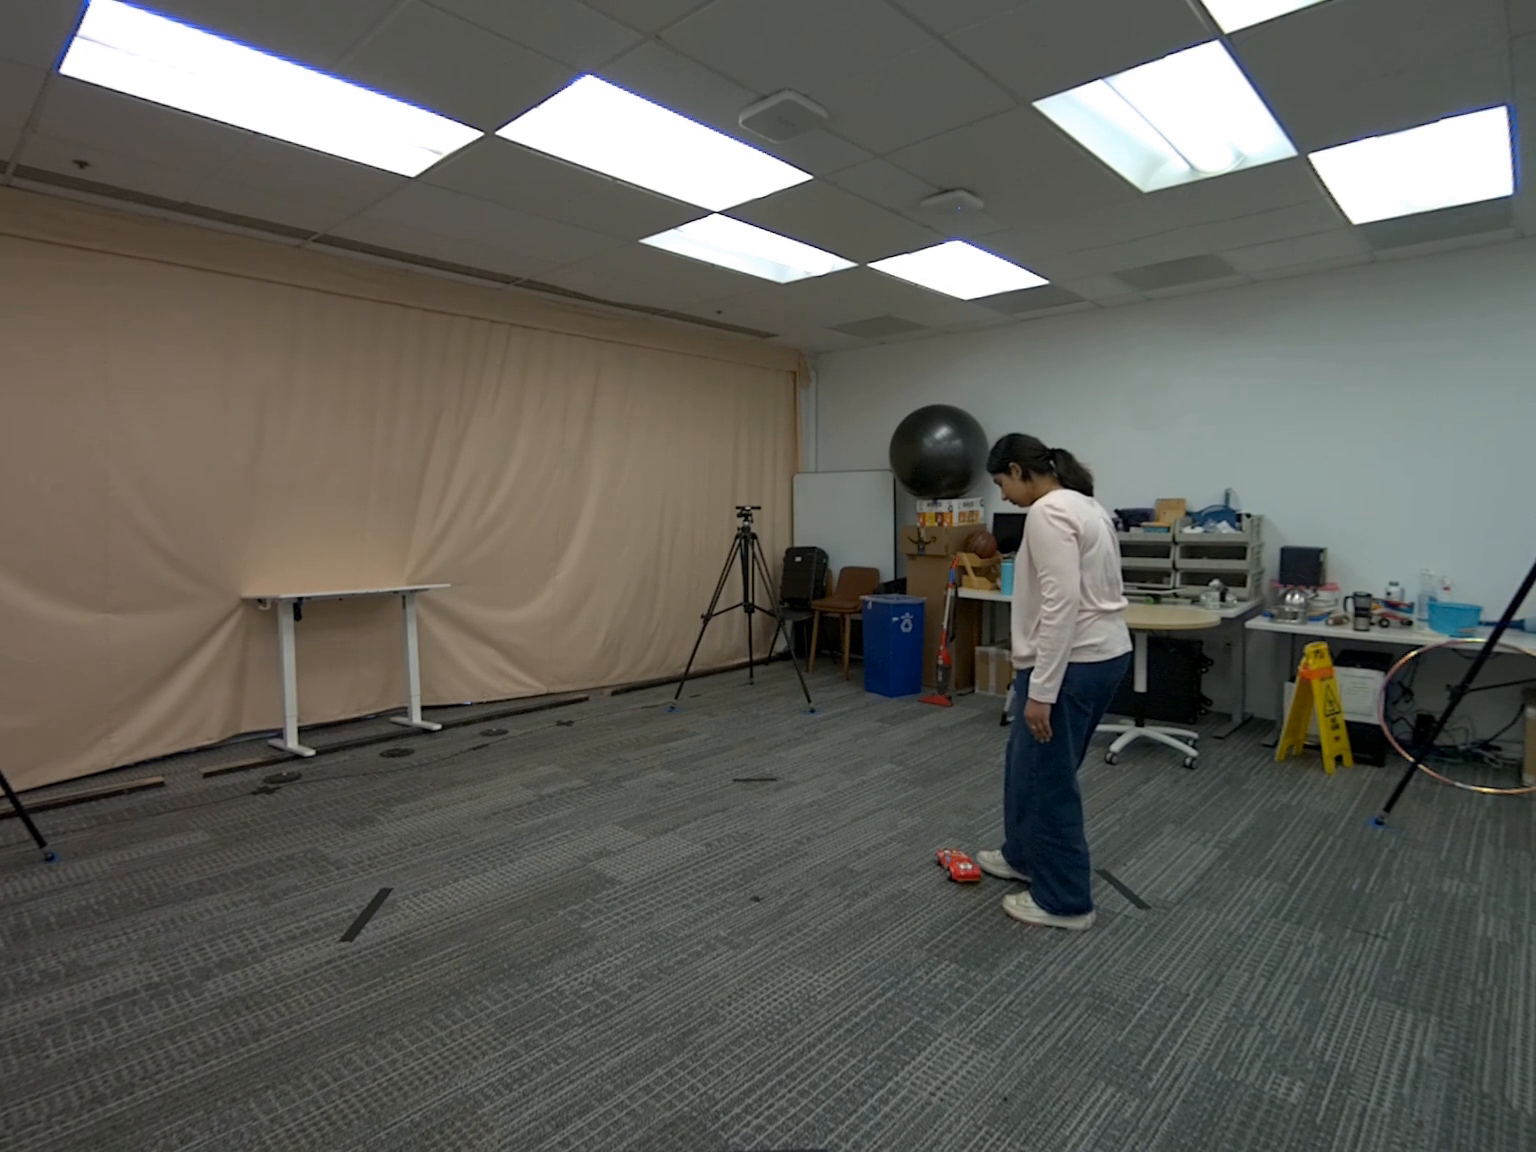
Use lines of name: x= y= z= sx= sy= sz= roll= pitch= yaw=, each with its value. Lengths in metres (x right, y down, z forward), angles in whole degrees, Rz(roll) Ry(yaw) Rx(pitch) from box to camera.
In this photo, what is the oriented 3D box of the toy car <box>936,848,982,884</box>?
toy car: x=0.728 y=1.096 z=3.178 sx=0.129 sy=0.083 sz=0.255 roll=-1 pitch=-7 yaw=-7
